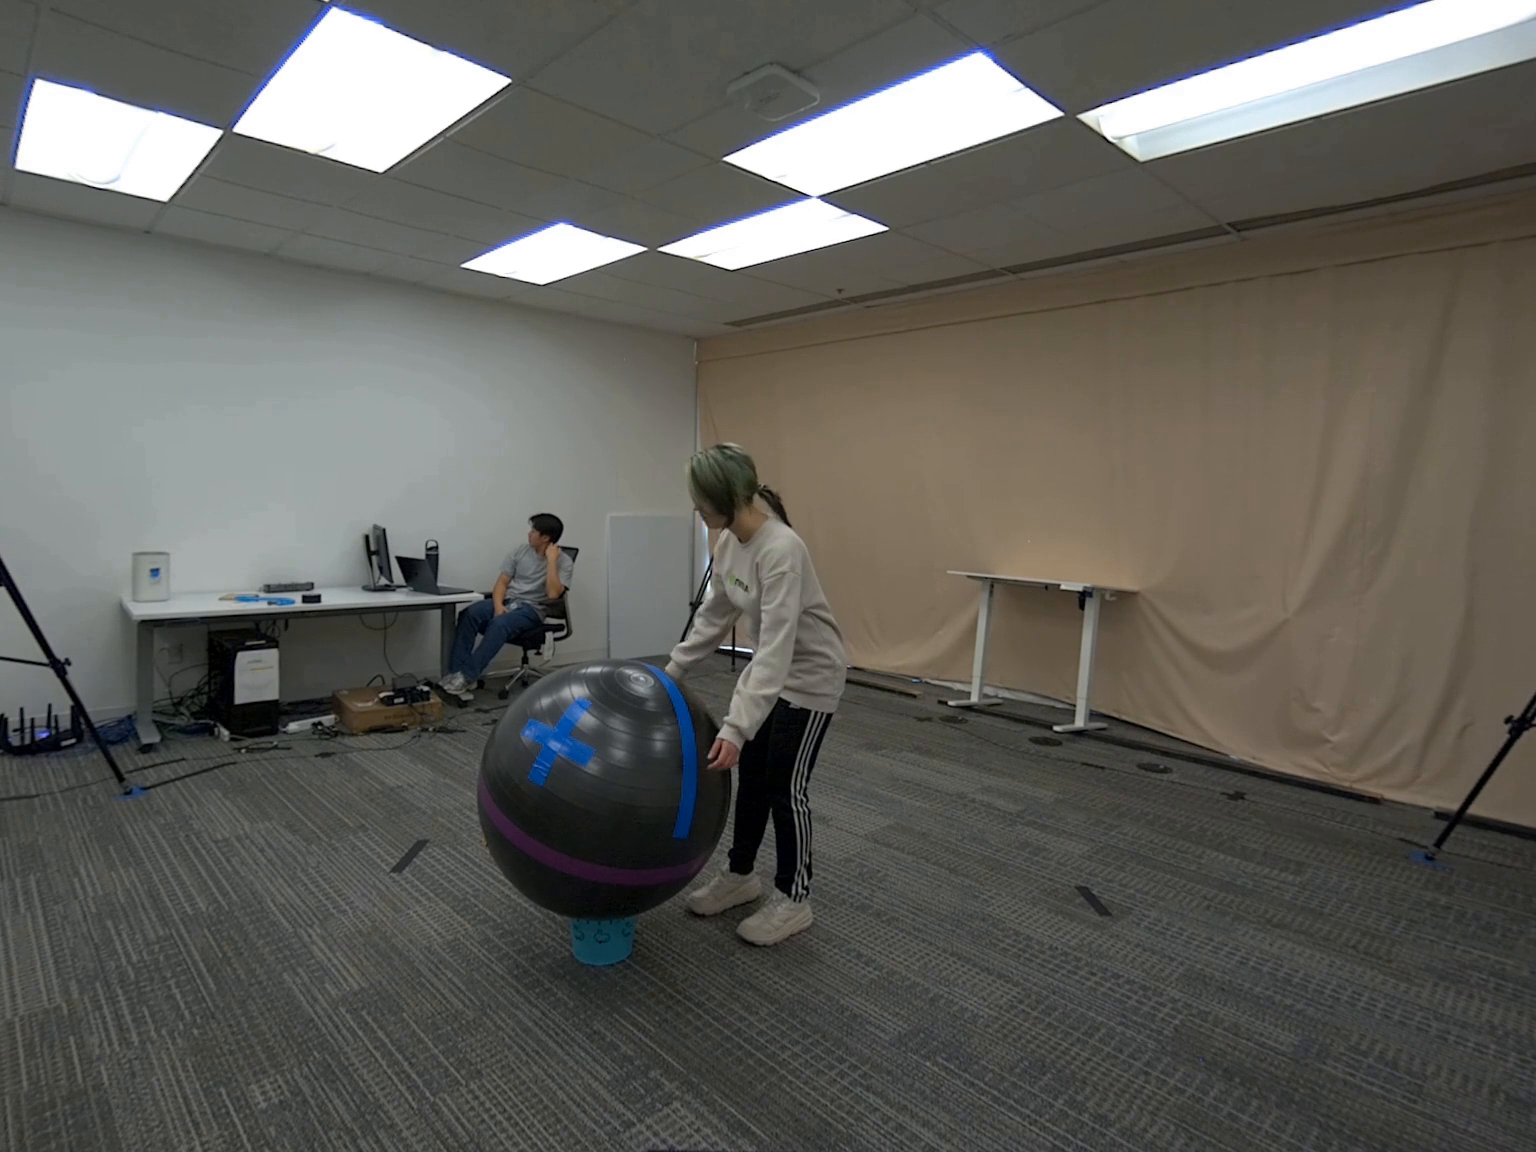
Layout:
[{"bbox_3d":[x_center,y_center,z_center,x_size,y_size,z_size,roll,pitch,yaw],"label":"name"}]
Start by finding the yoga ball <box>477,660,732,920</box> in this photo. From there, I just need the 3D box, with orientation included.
[{"bbox_3d":[-0.502,0.640,2.547,0.757,0.756,0.761,1,4,-1],"label":"yoga ball"}]
